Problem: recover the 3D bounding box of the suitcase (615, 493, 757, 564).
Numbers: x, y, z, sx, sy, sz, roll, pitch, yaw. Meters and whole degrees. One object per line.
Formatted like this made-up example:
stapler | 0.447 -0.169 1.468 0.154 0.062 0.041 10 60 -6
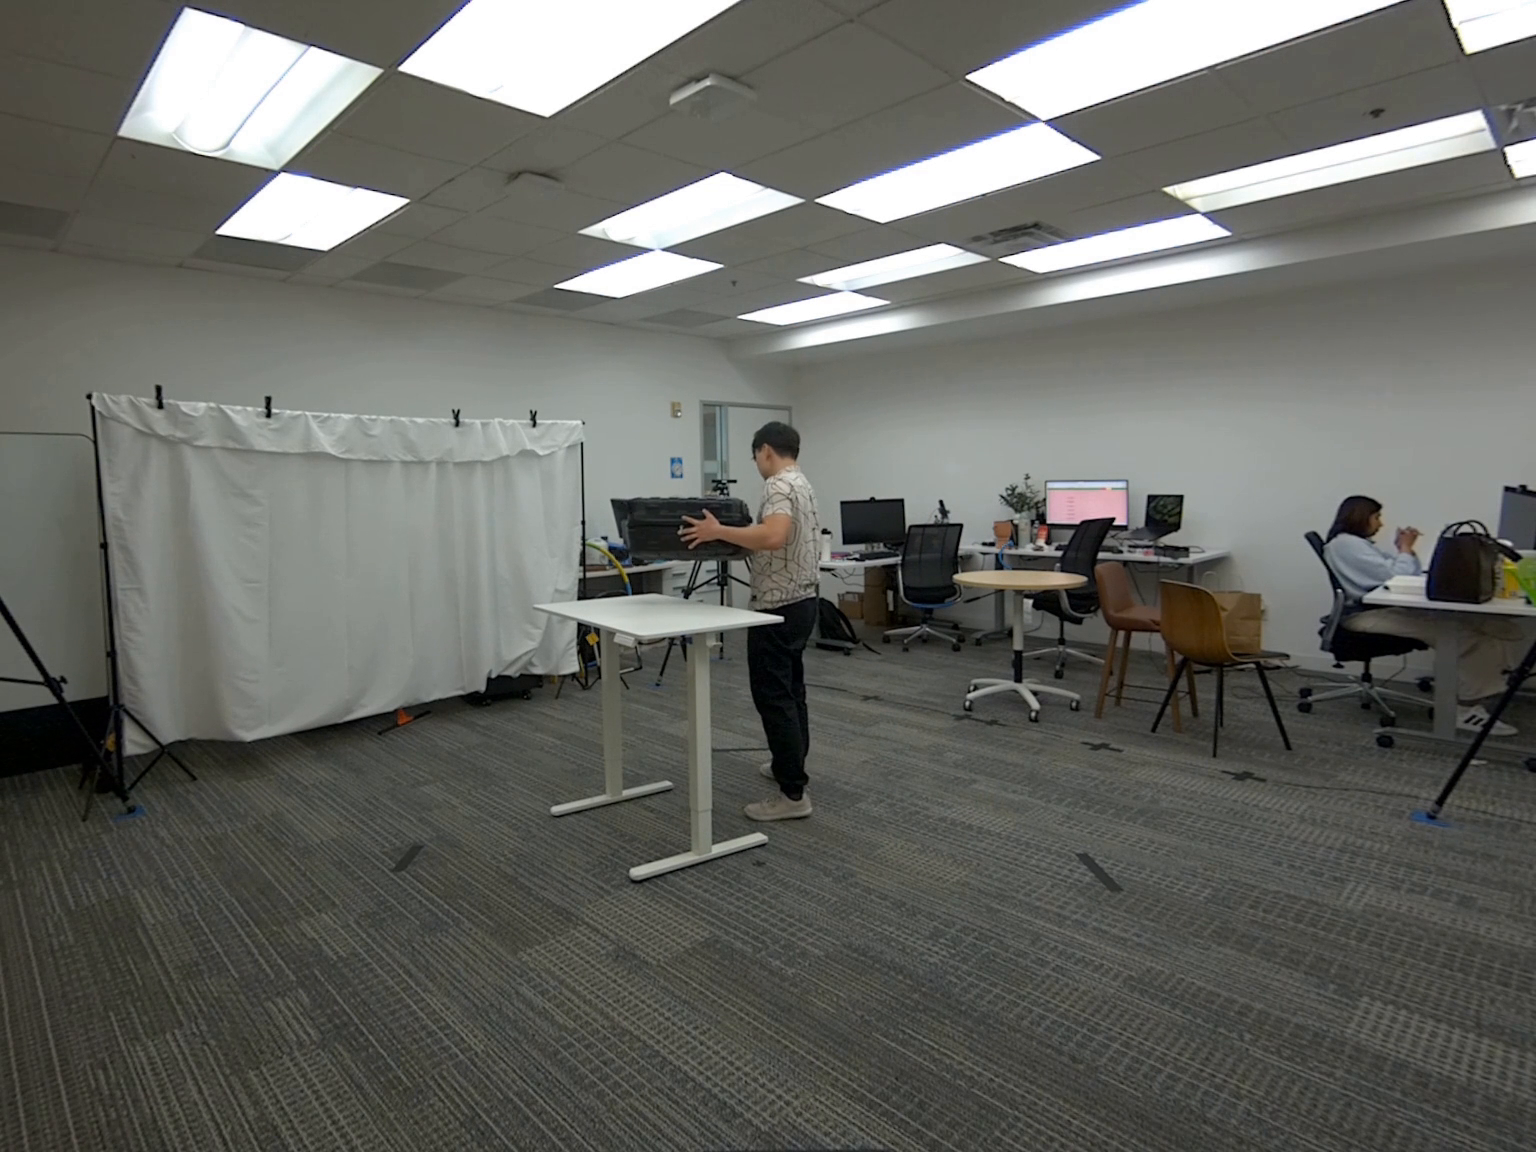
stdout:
suitcase | -0.340 -0.198 3.670 0.553 0.249 0.371 -1 -4 7
